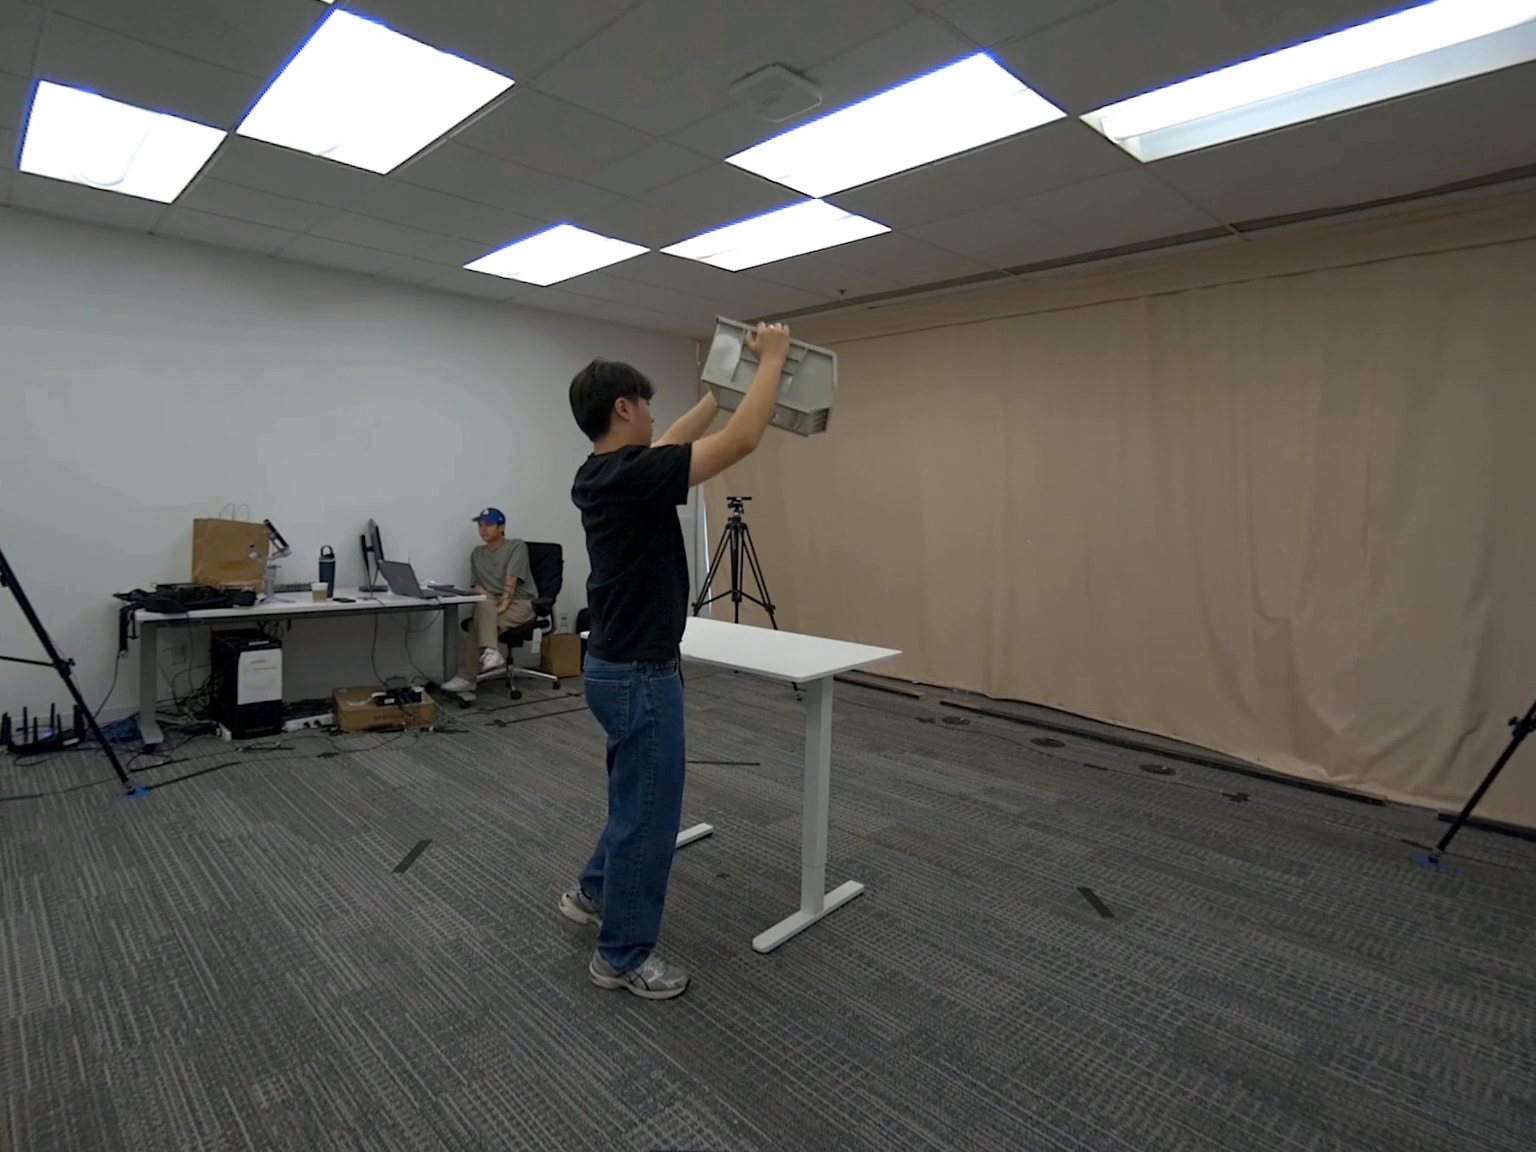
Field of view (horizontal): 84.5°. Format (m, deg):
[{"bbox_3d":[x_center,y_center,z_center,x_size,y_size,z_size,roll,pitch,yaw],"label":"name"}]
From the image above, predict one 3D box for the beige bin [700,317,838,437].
[{"bbox_3d":[0.011,-0.567,2.482,0.379,0.189,0.420,17,0,3],"label":"beige bin"}]
